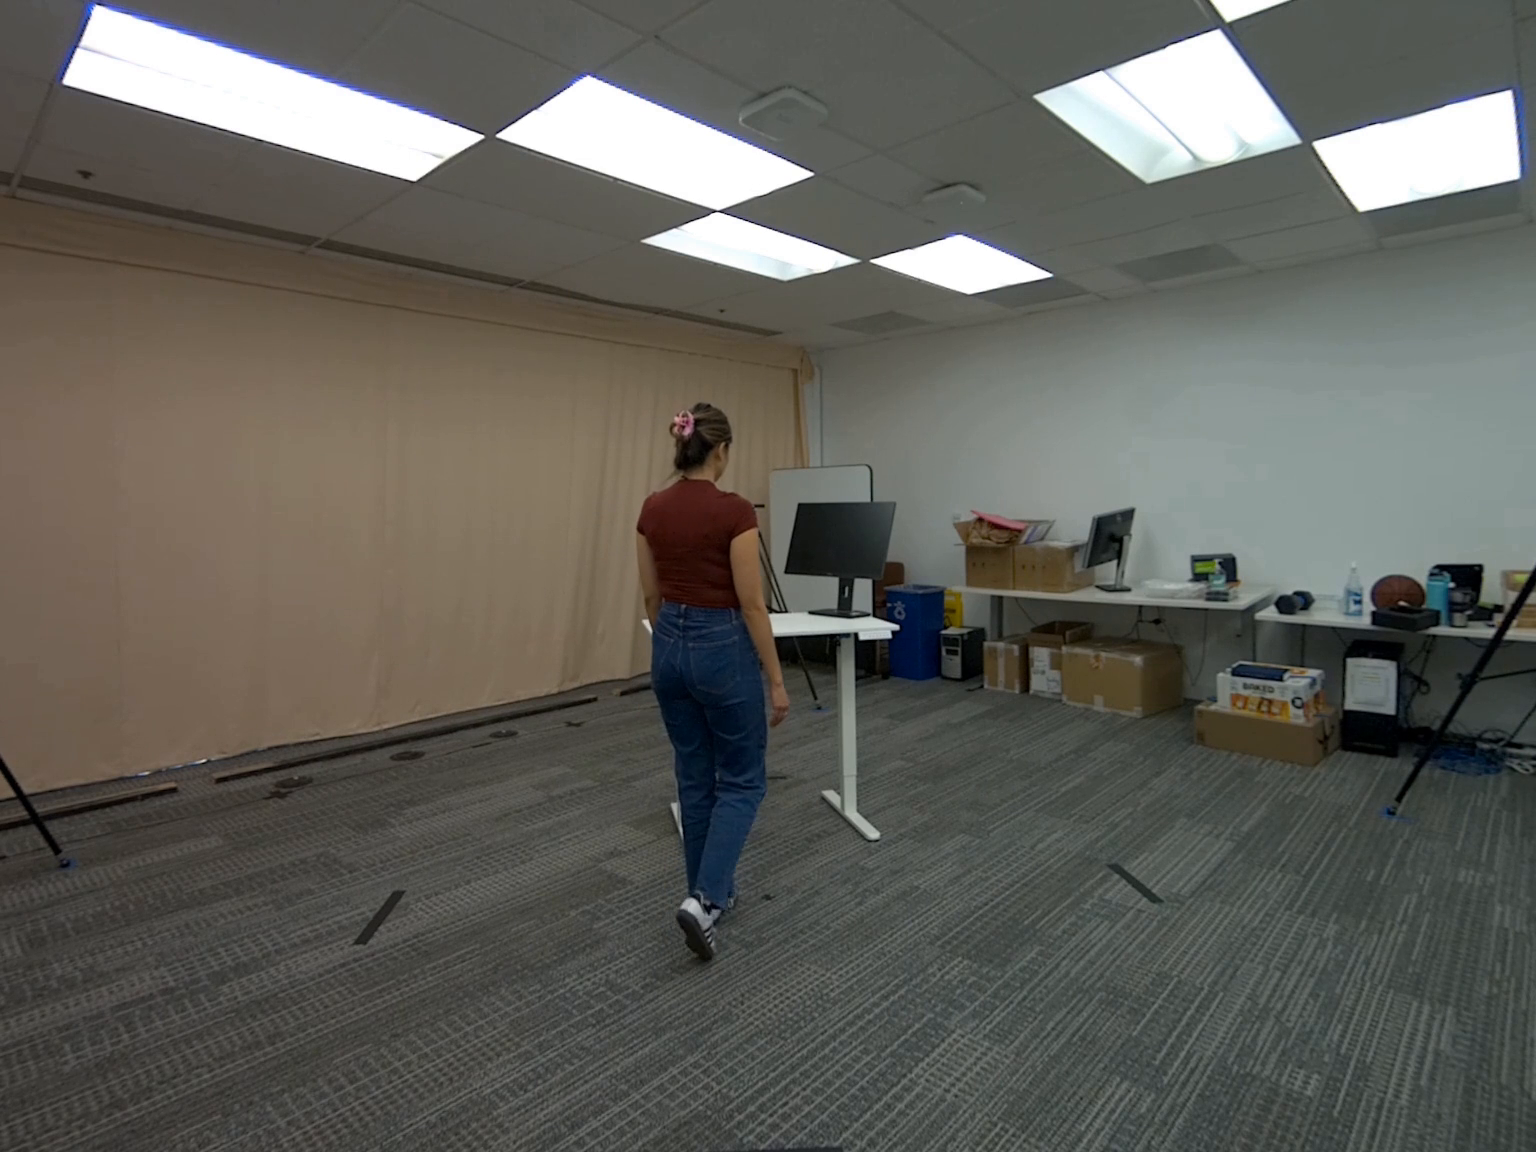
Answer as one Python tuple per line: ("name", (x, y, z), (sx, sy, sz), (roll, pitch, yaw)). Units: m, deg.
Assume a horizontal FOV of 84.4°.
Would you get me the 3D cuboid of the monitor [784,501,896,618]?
("monitor", (0.341, -0.076, 3.859), (0.557, 0.522, 0.181), (3, 1, 39))
